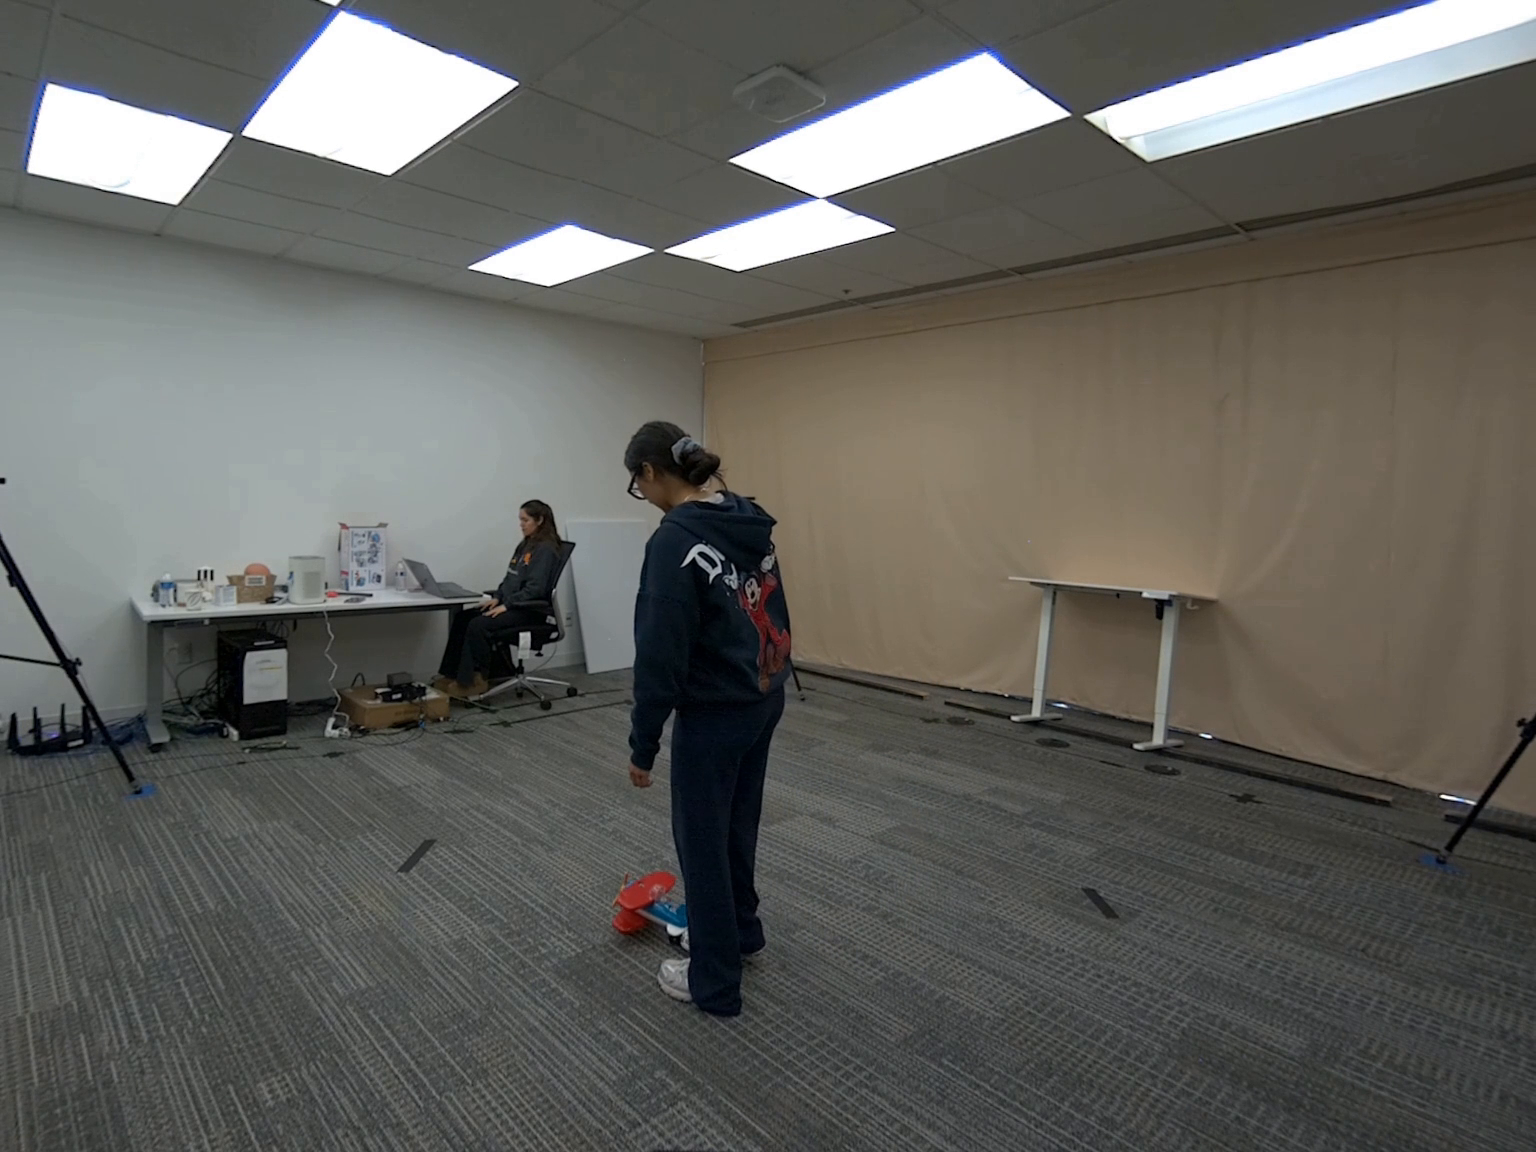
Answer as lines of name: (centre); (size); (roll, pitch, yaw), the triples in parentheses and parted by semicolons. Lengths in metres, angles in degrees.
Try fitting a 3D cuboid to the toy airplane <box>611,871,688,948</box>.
toy airplane: (-0.360, 1.067, 2.687); (0.259, 0.156, 0.252); (0, 5, 0)
